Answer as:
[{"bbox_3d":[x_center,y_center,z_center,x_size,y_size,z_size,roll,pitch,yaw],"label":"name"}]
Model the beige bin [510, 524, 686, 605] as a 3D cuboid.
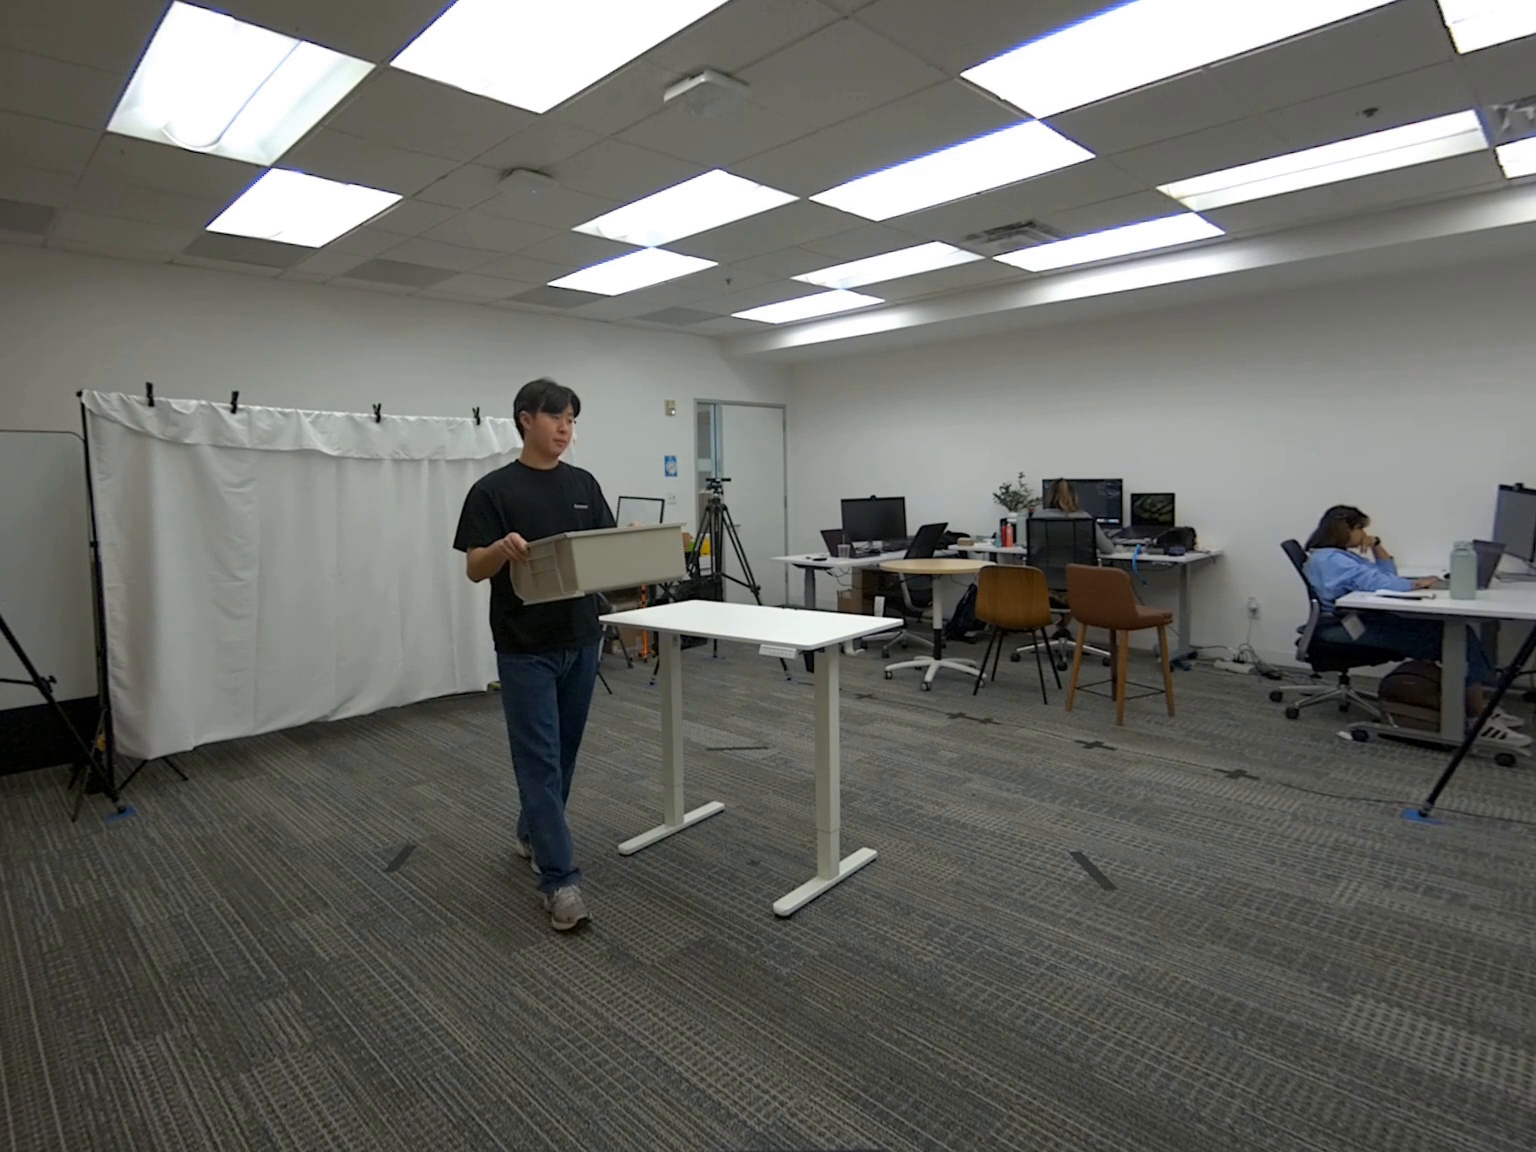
[{"bbox_3d":[-0.512,-0.037,2.619,0.412,0.189,0.387,-9,1,-42],"label":"beige bin"}]
